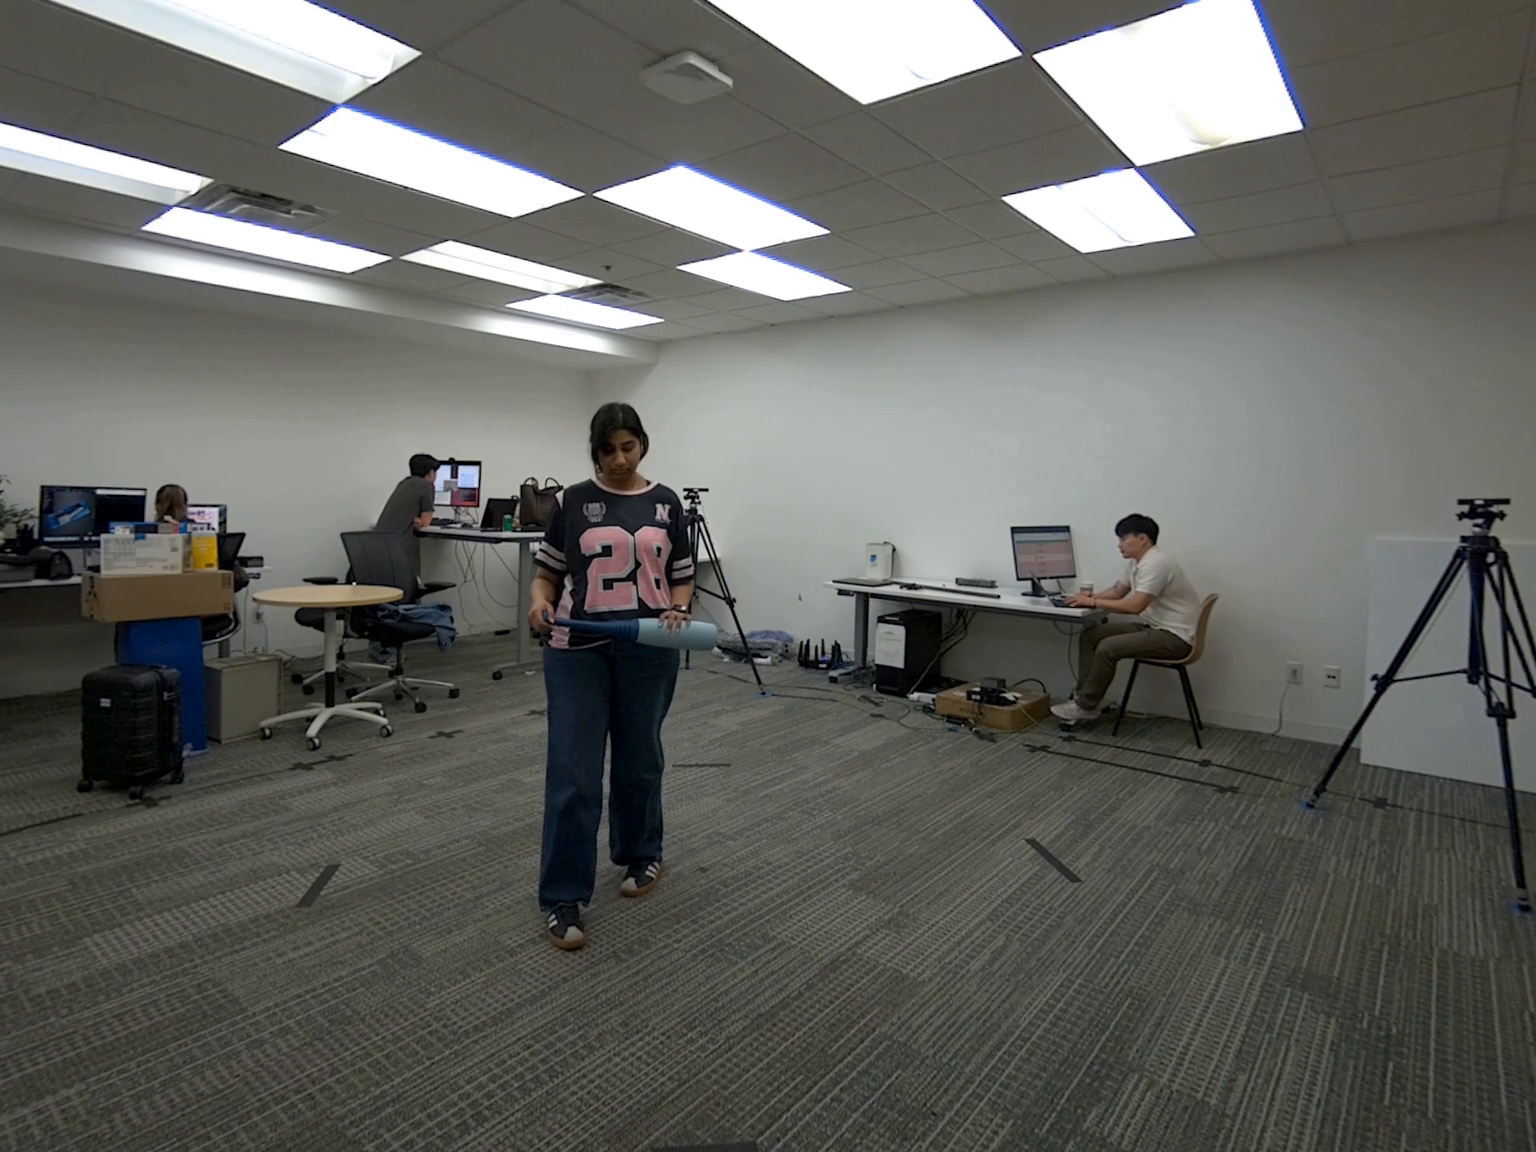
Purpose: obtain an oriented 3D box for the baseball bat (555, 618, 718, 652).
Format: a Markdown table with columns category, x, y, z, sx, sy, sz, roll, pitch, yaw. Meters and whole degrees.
| category | x | y | z | sx | sy | sz | roll | pitch | yaw |
| --- | --- | --- | --- | --- | --- | --- | --- | --- | --- |
| baseball bat | -0.430 | 0.170 | 2.579 | 0.537 | 0.089 | 0.090 | 6 | 3 | -9 |
